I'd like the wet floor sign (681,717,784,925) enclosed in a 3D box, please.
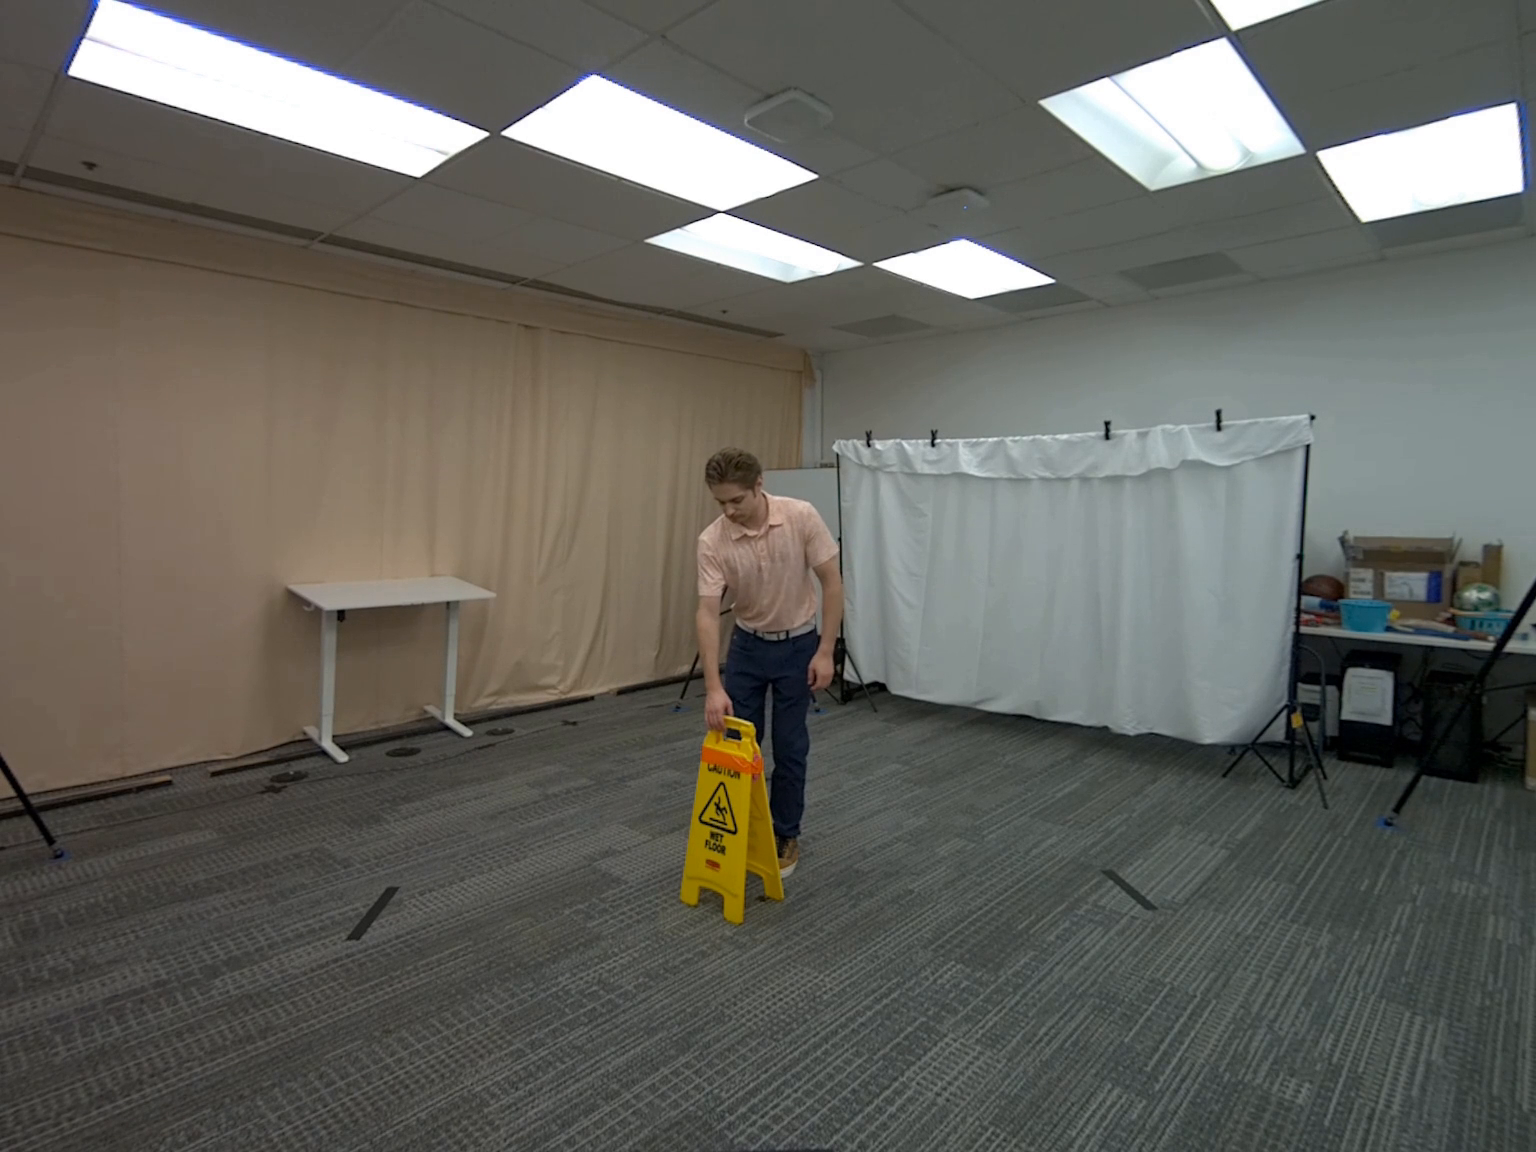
[{"bbox_3d":[-0.127,0.819,2.952,0.291,0.645,0.281,2,4,43],"label":"wet floor sign"}]
